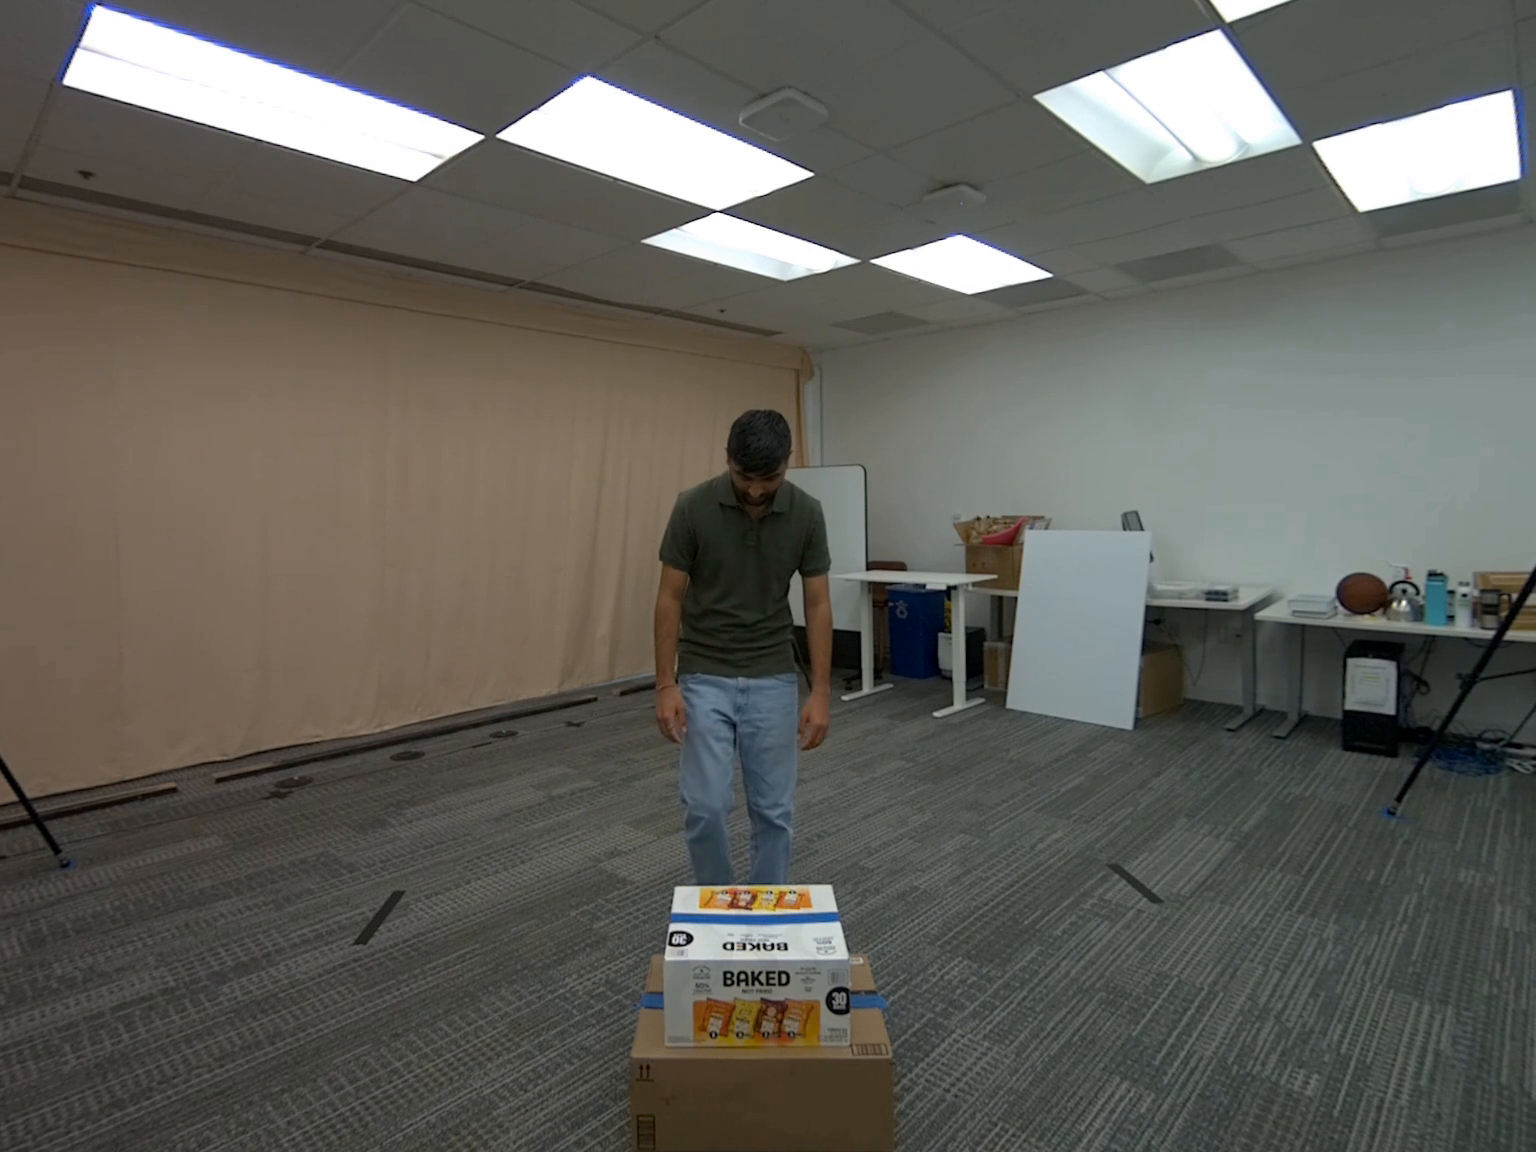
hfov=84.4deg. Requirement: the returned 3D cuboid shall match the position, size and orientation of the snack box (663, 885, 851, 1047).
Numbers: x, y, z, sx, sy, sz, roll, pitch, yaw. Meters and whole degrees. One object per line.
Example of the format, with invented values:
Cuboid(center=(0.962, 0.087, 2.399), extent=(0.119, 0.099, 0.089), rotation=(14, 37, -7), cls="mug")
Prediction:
Cuboid(center=(-0.021, 0.908, 1.986), extent=(0.405, 0.205, 0.341), rotation=(-1, 5, -1), cls="snack box")
